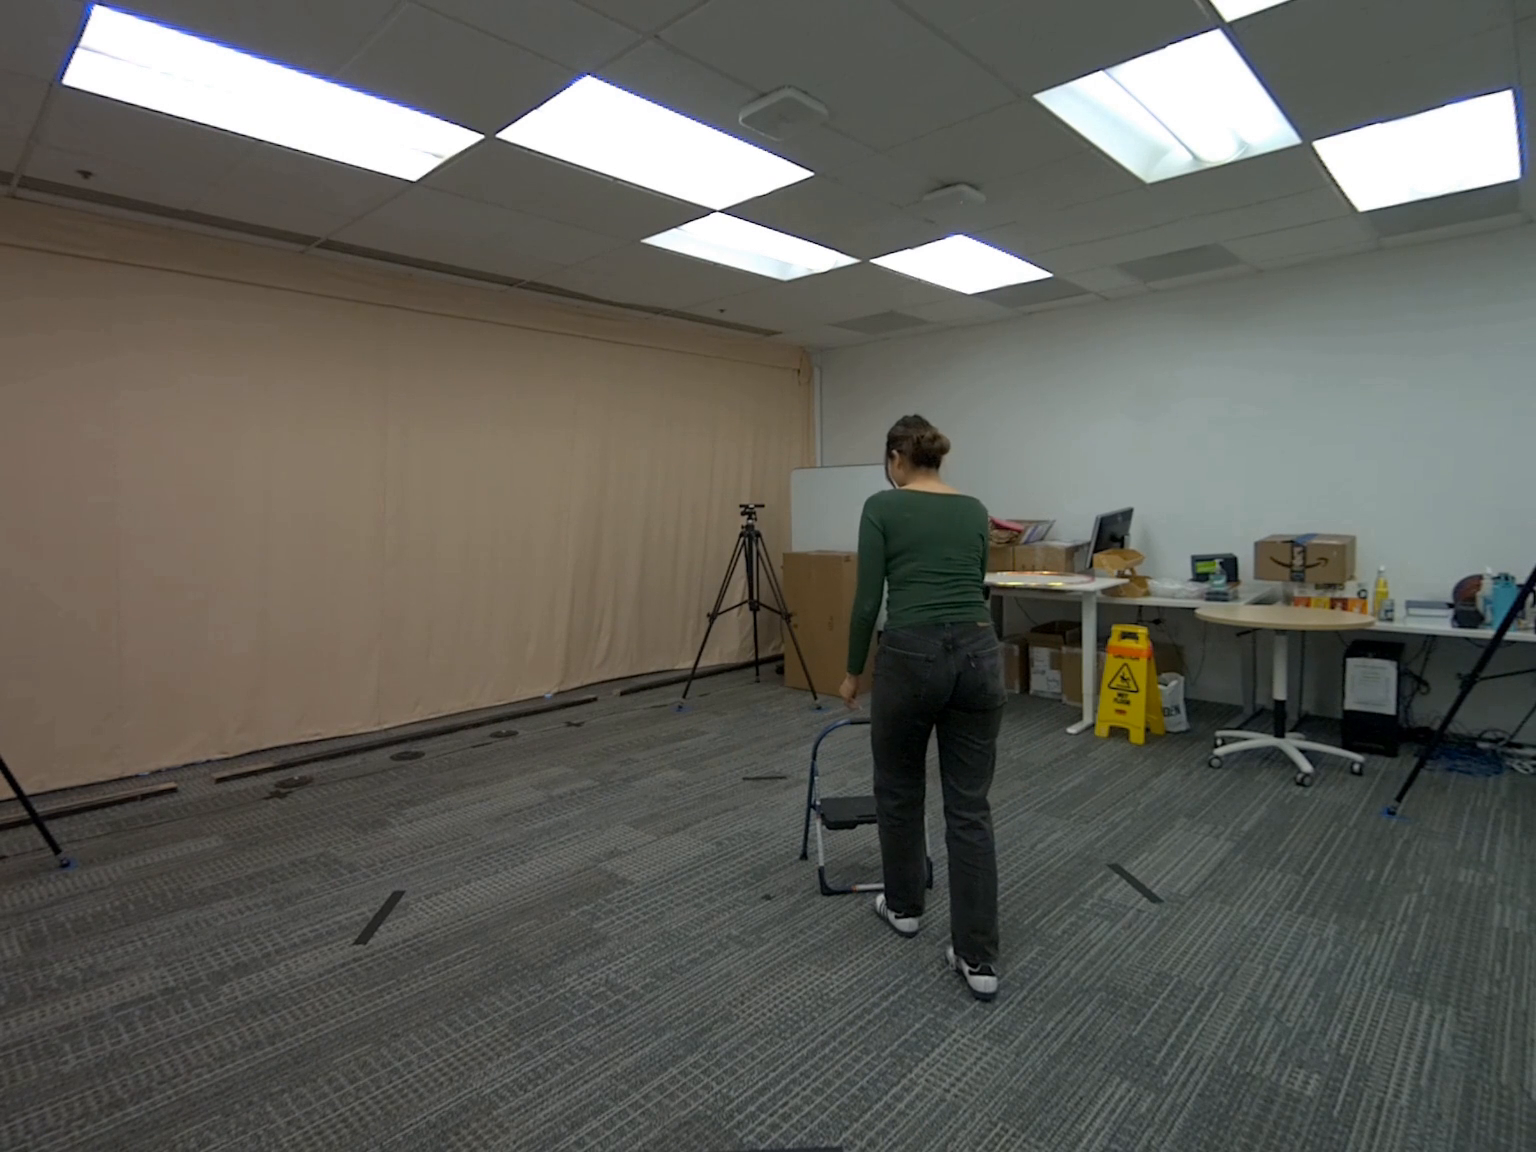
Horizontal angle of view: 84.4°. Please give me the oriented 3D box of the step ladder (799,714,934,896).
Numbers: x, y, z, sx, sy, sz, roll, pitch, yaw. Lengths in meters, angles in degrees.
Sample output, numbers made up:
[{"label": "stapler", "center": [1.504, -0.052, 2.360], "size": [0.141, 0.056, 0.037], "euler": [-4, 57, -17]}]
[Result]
[{"label": "step ladder", "center": [0.361, 0.817, 3.153], "size": [0.427, 0.605, 0.353], "euler": [-1, 3, -8]}]
